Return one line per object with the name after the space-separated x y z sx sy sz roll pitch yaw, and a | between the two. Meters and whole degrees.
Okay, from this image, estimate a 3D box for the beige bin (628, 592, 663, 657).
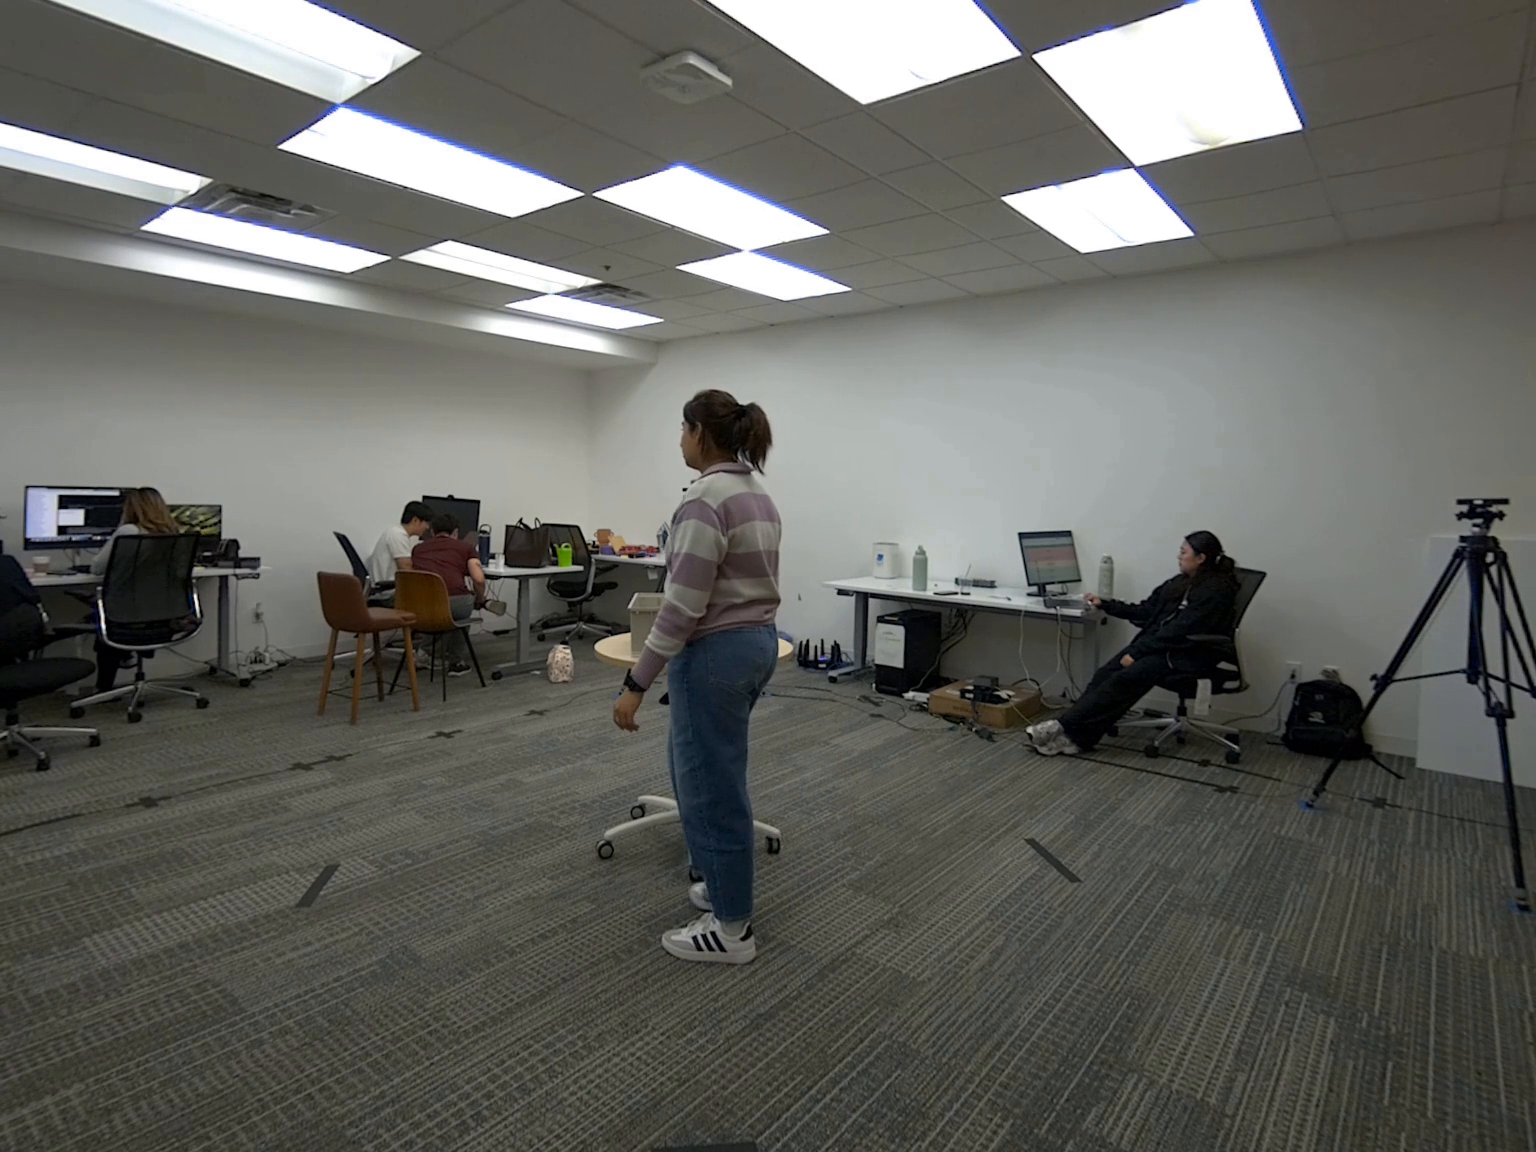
-0.335 0.180 3.256 0.376 0.188 0.425 -1 6 -3 | beige bin
